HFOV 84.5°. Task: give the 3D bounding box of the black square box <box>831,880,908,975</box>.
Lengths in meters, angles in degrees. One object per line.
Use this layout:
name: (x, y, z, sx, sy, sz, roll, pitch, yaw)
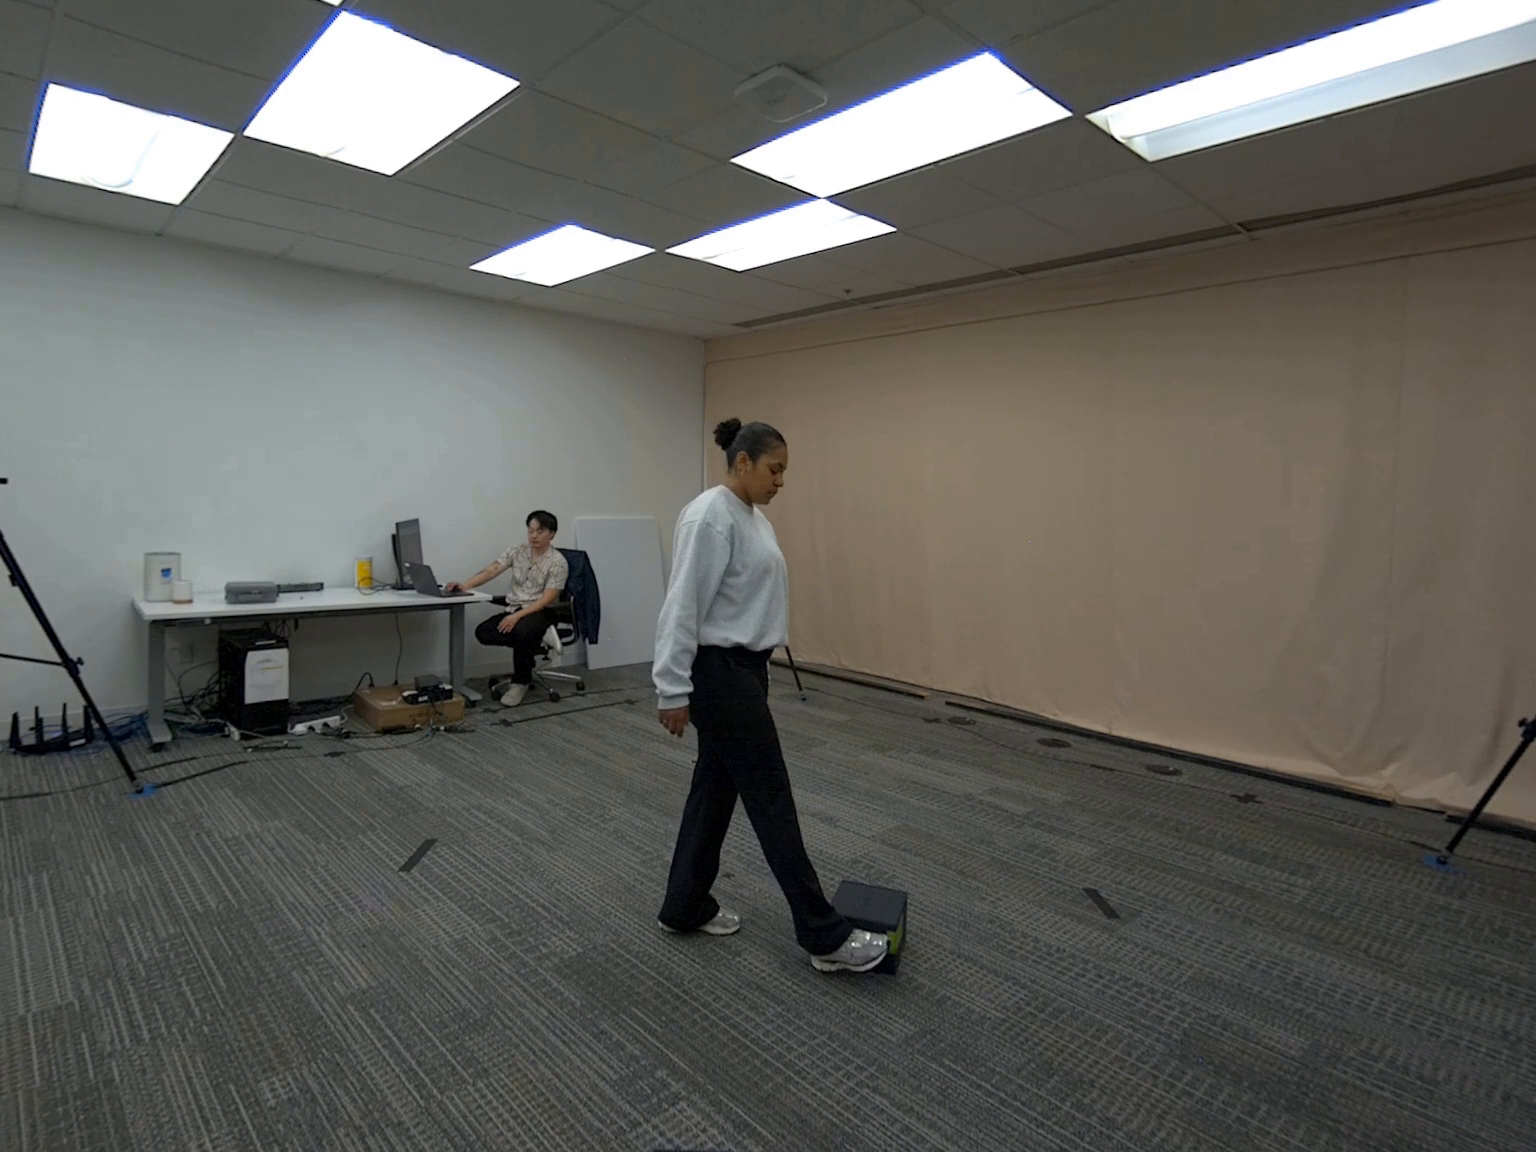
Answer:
black square box: (0.290, 1.080, 2.592, 0.220, 0.155, 0.225, 4, 5, 18)
